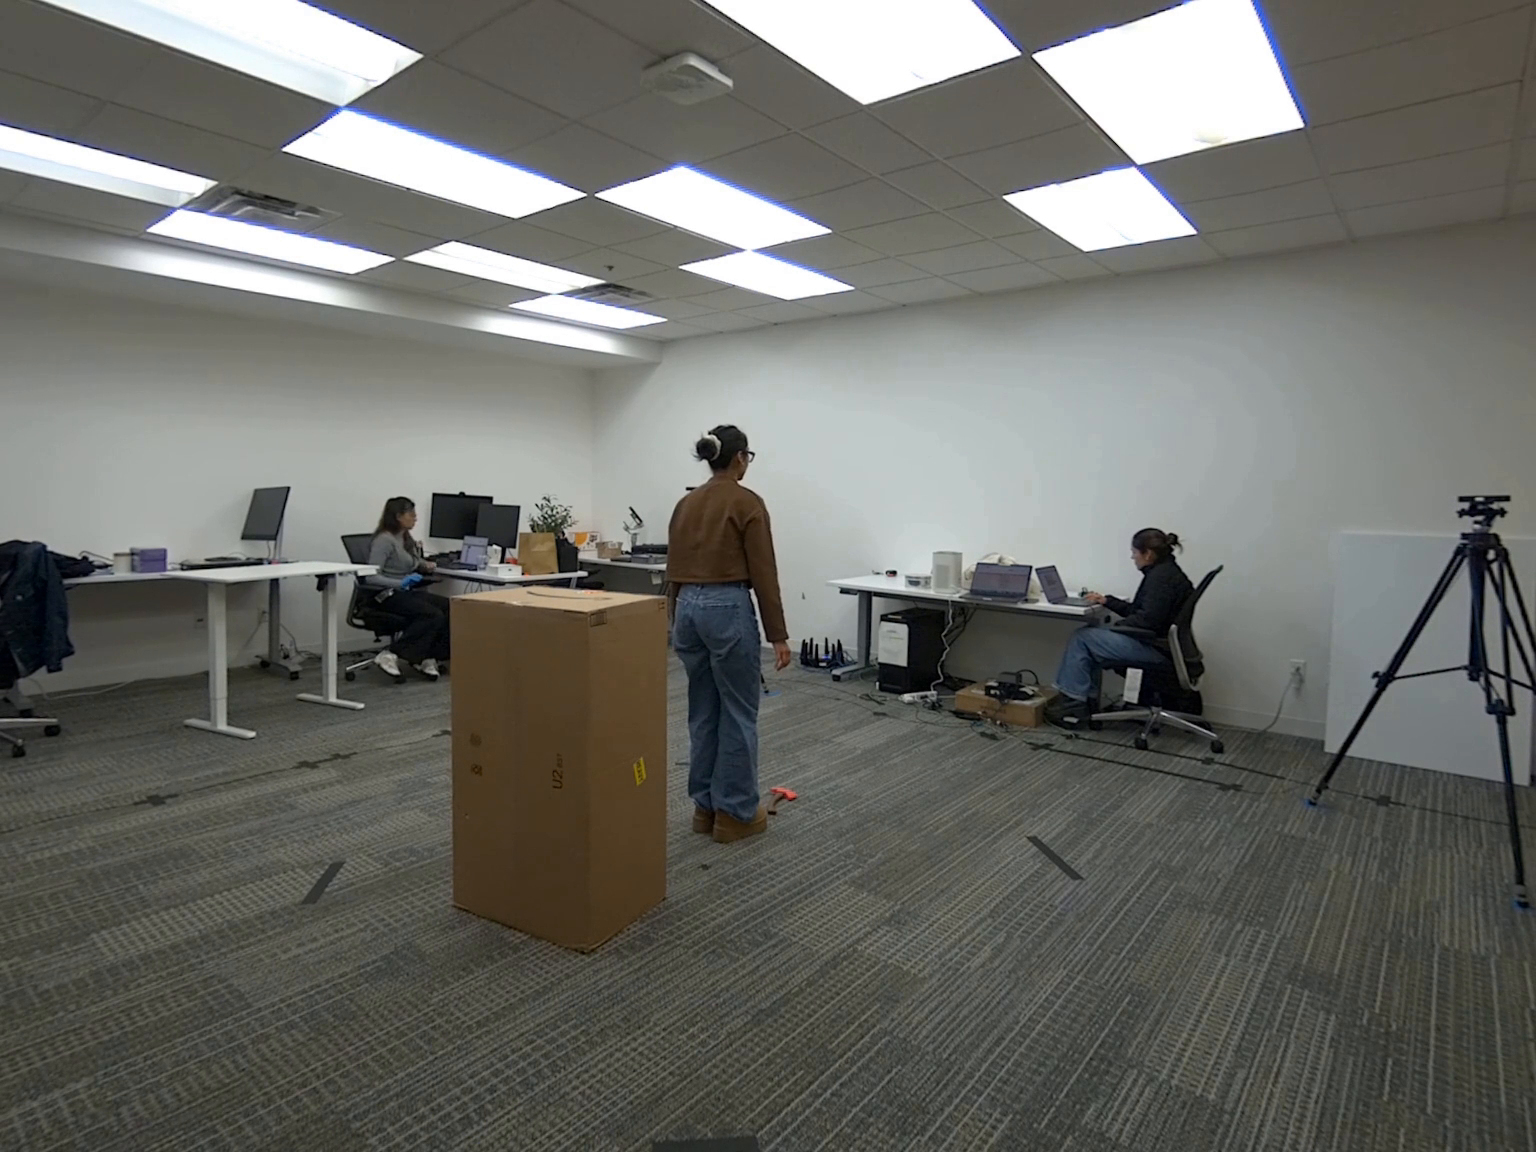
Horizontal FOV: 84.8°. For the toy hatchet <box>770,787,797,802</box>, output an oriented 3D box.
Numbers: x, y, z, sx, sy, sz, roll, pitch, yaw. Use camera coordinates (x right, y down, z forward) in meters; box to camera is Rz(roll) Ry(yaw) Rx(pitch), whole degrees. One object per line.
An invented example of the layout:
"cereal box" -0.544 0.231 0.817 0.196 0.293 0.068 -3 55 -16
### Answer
"toy hatchet" 0.056 0.998 3.770 0.132 0.029 0.270 5 8 3
